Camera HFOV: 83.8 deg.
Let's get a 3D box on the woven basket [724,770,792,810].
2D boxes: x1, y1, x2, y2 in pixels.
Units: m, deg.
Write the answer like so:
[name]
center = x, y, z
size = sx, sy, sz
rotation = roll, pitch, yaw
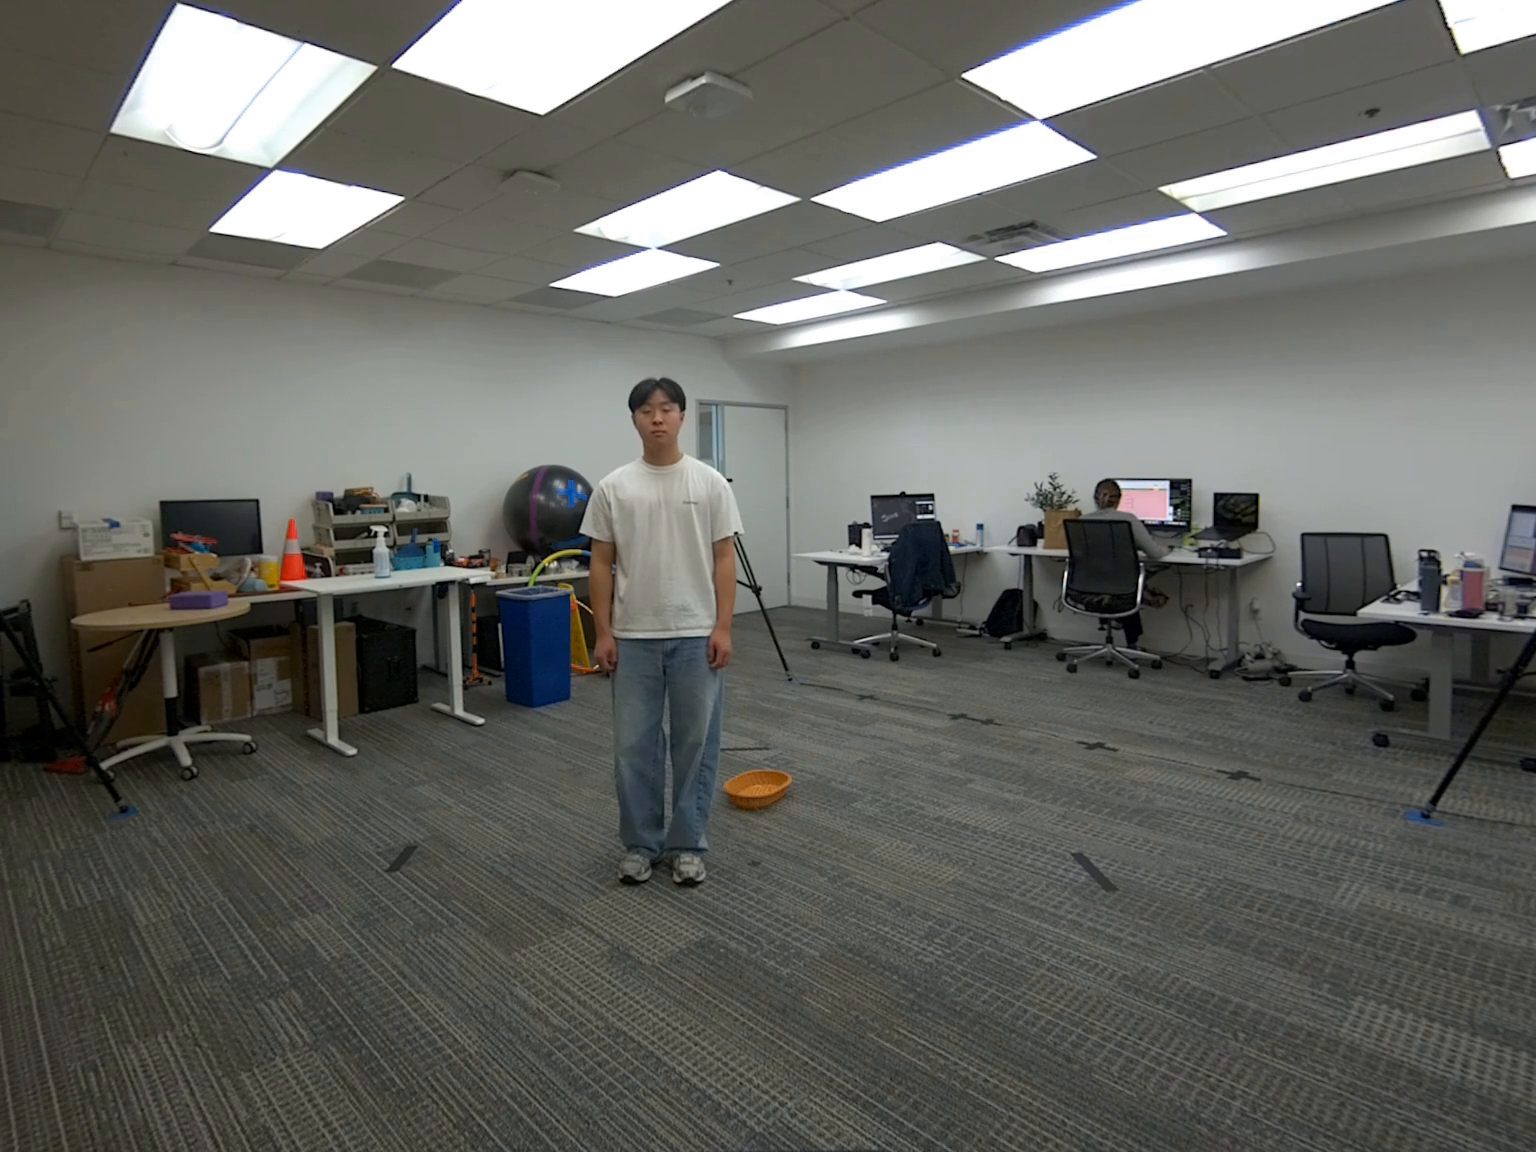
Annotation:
[woven basket]
center = -0.043, 0.934, 3.740
size = 0.260, 0.073, 0.342
rotation = 3, 8, 34
